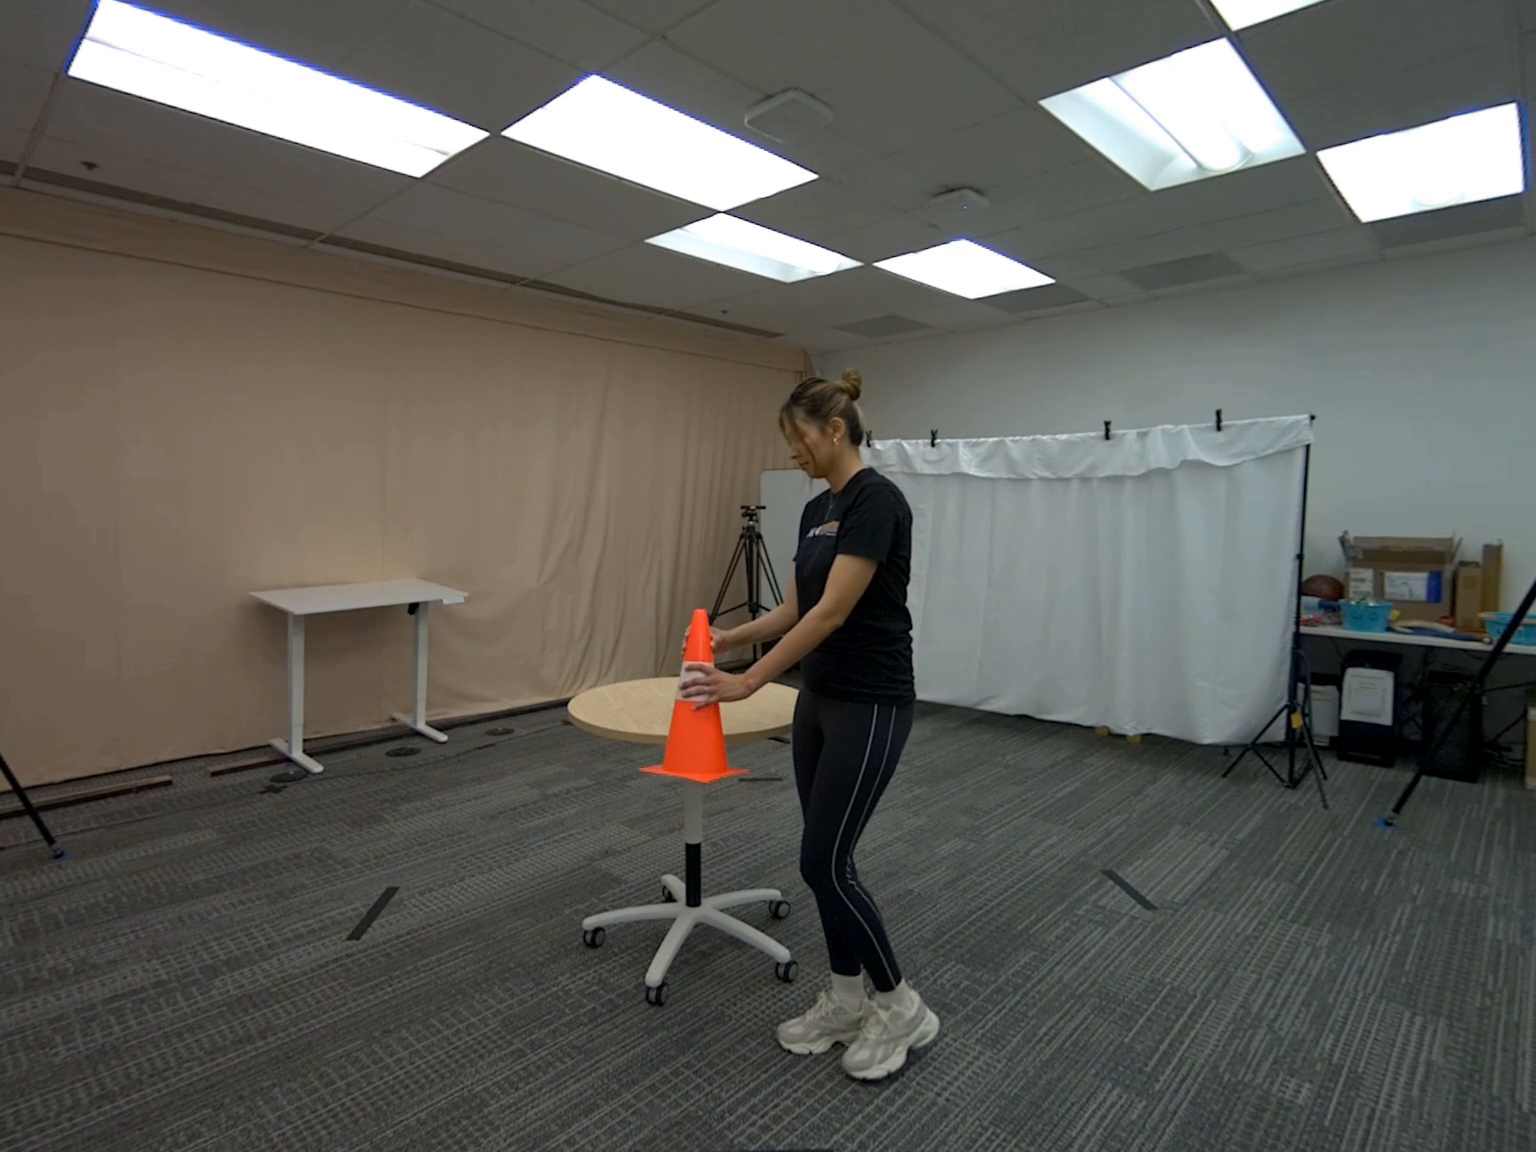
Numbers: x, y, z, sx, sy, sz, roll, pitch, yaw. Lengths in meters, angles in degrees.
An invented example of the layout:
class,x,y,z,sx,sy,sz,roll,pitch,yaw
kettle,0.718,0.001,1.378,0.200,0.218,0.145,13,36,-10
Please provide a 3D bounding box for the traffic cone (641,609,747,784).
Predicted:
class,x,y,z,sx,sy,sz,roll,pitch,yaw
traffic cone,-0.158,0.284,1.999,0.211,0.384,0.197,0,-3,32
